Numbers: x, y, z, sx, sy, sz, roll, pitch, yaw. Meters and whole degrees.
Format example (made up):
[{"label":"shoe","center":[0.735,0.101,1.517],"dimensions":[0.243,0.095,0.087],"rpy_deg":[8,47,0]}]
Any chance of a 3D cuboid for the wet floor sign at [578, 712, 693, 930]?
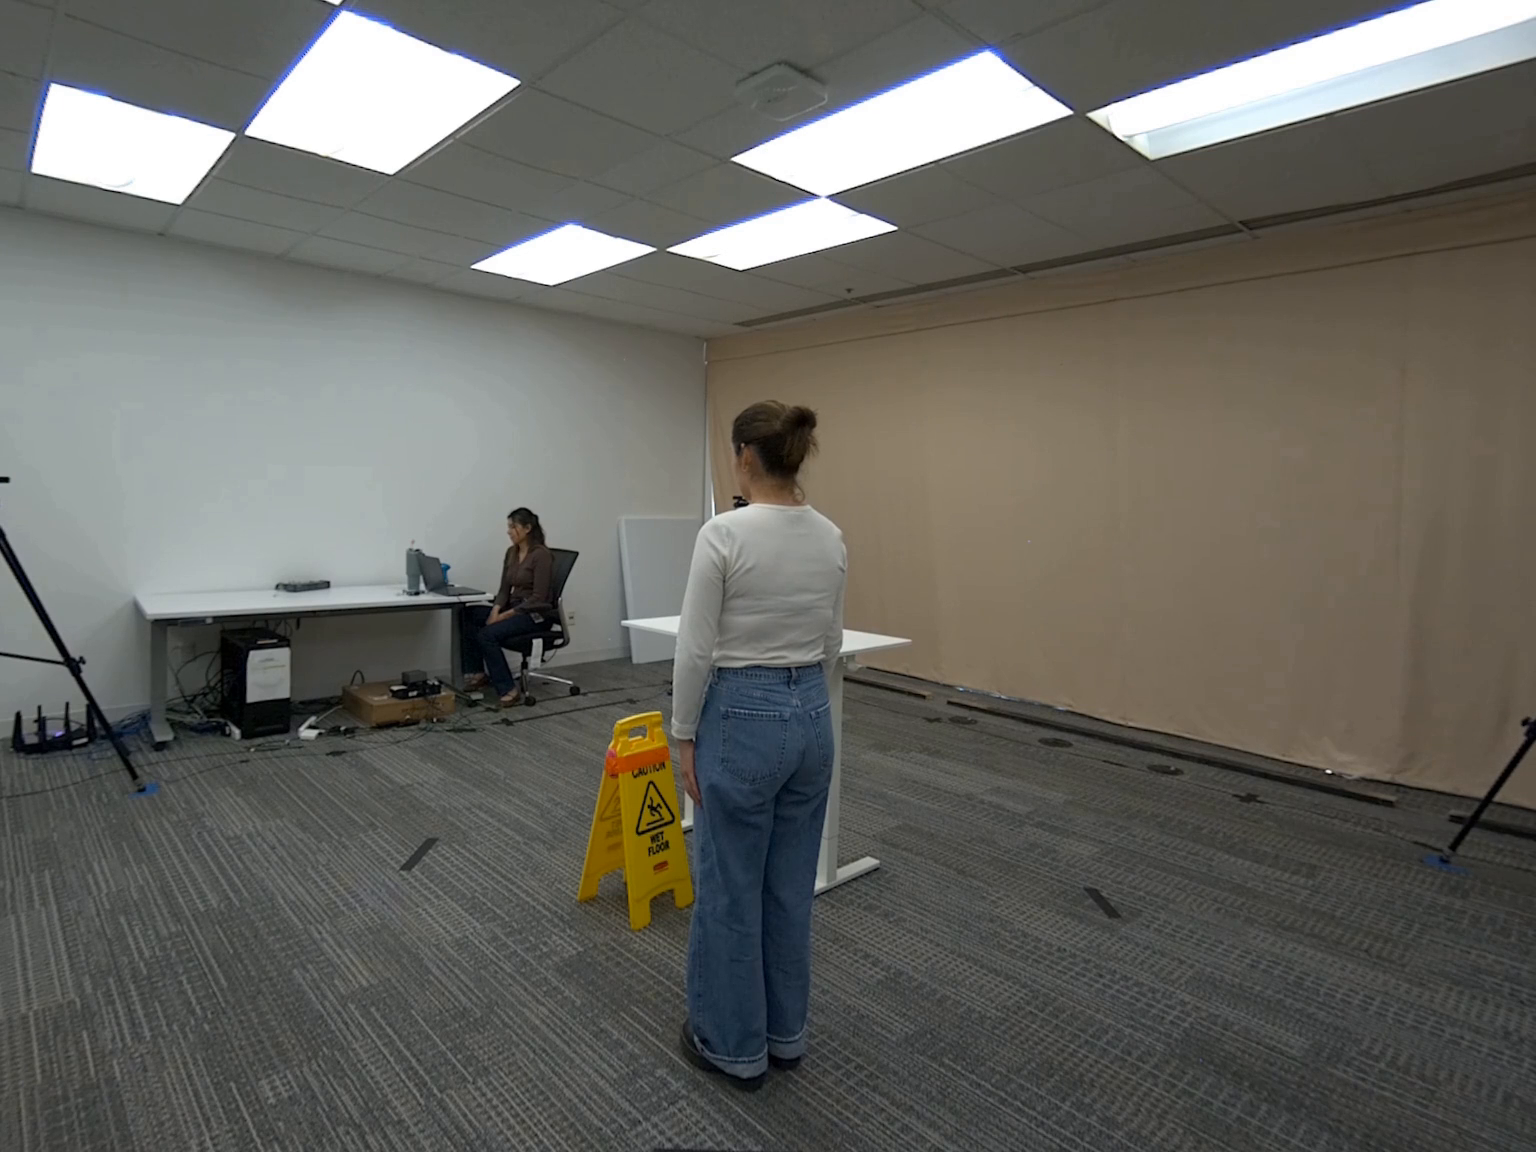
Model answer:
[{"label":"wet floor sign","center":[-0.450,0.798,2.855],"dimensions":[0.297,0.644,0.276],"rpy_deg":[5,5,40]}]
